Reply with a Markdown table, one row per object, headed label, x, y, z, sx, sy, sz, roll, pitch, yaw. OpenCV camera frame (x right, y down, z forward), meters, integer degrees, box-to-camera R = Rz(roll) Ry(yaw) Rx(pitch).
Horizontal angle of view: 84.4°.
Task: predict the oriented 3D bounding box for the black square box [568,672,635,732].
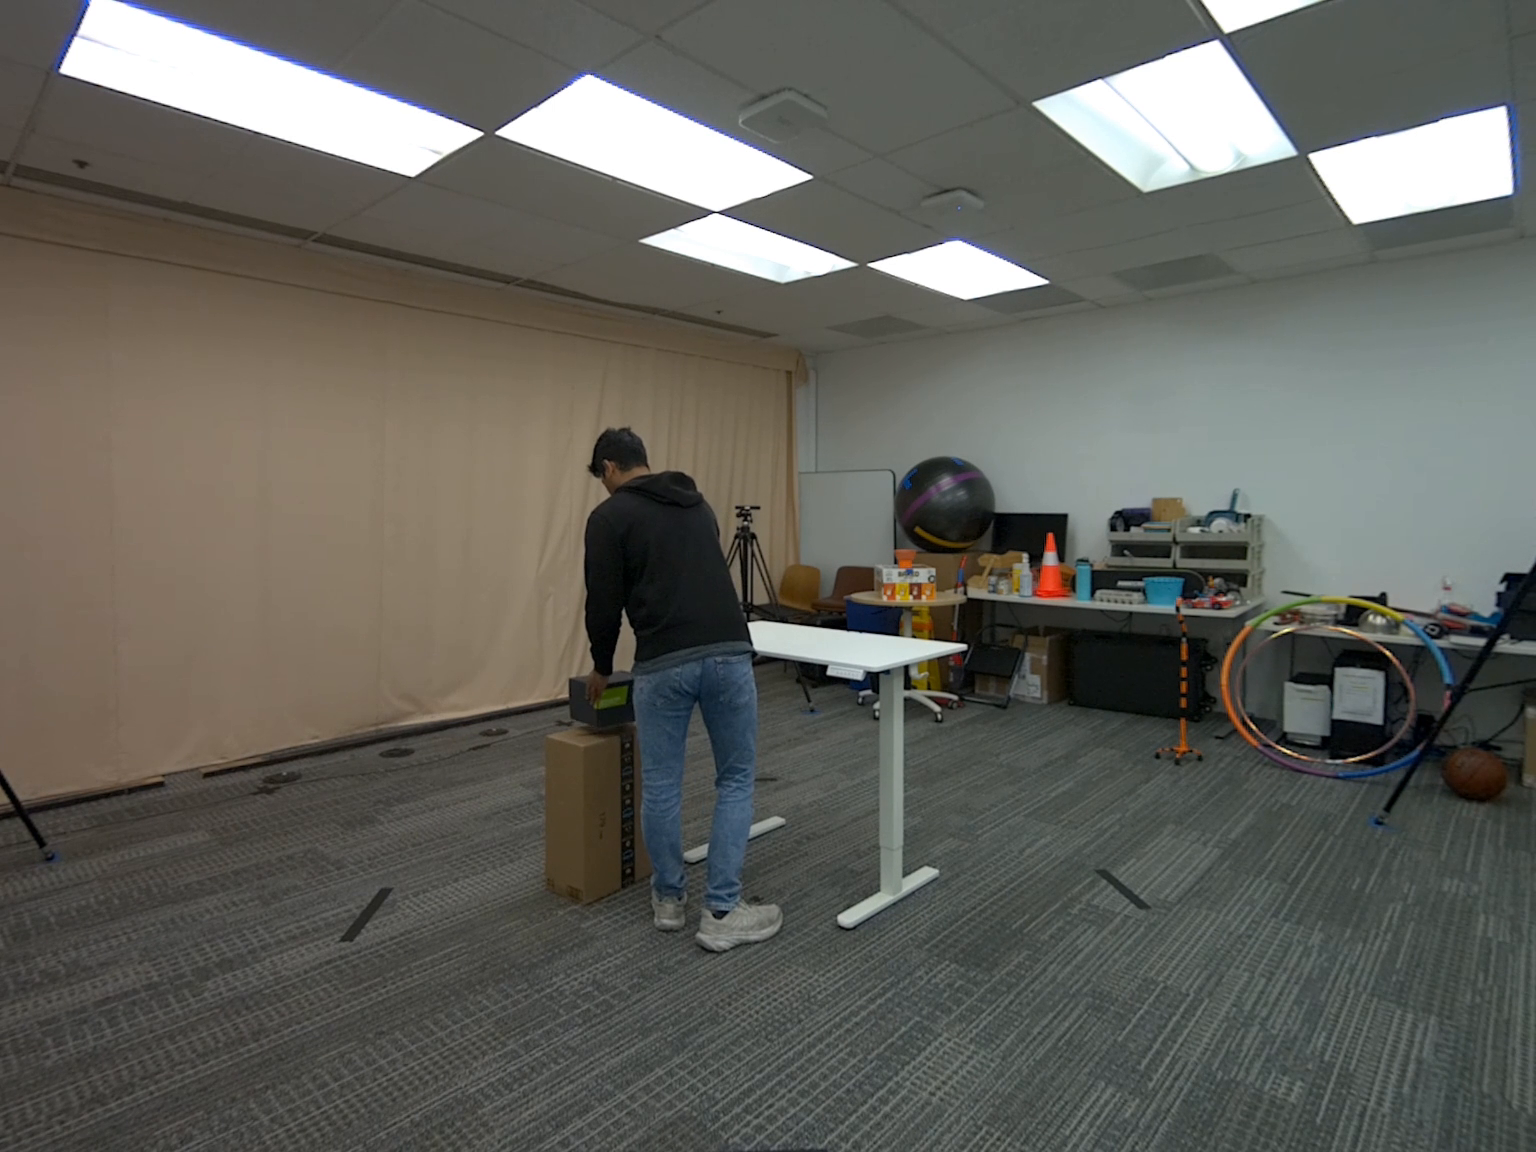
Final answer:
| label | x | y | z | sx | sy | sz | roll | pitch | yaw |
| --- | --- | --- | --- | --- | --- | --- | --- | --- | --- |
| black square box | -0.590 | 0.453 | 3.149 | 0.221 | 0.156 | 0.224 | -3 | 2 | -39 |
